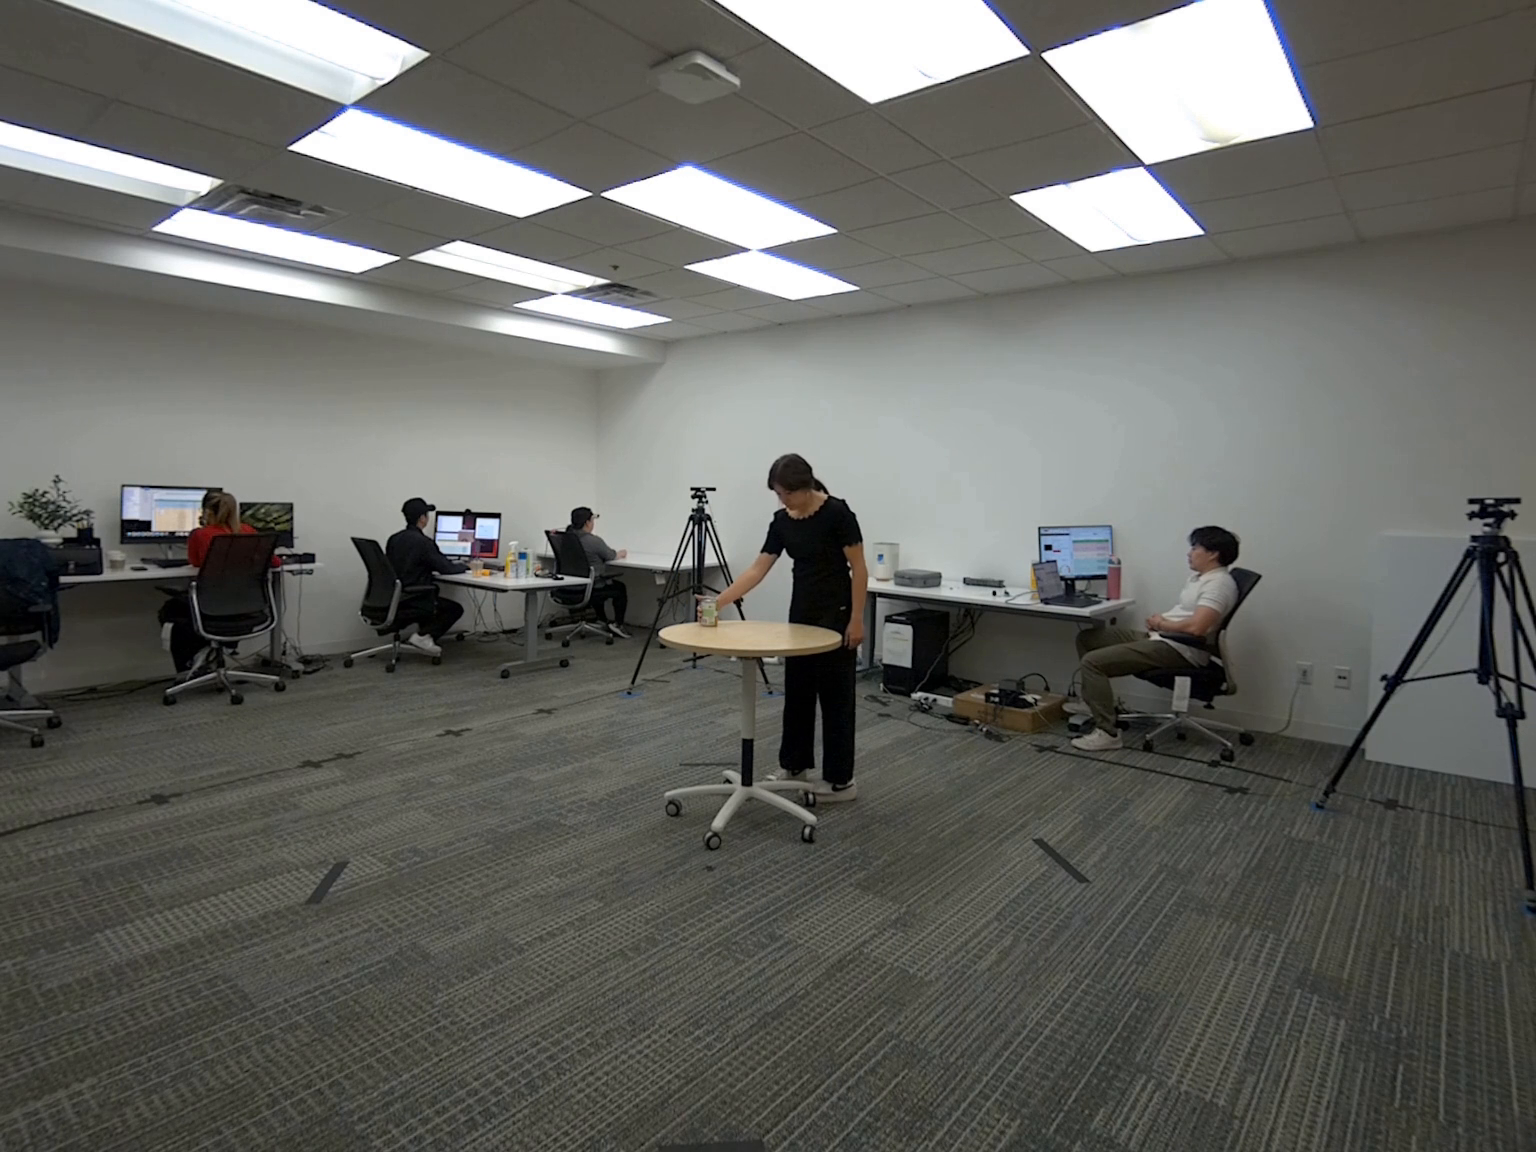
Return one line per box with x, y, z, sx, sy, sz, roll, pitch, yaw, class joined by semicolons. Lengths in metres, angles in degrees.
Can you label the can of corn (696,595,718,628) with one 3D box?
-0.273;0.163;3.779;0.074;0.111;0.074;1;1;-2;can of corn
